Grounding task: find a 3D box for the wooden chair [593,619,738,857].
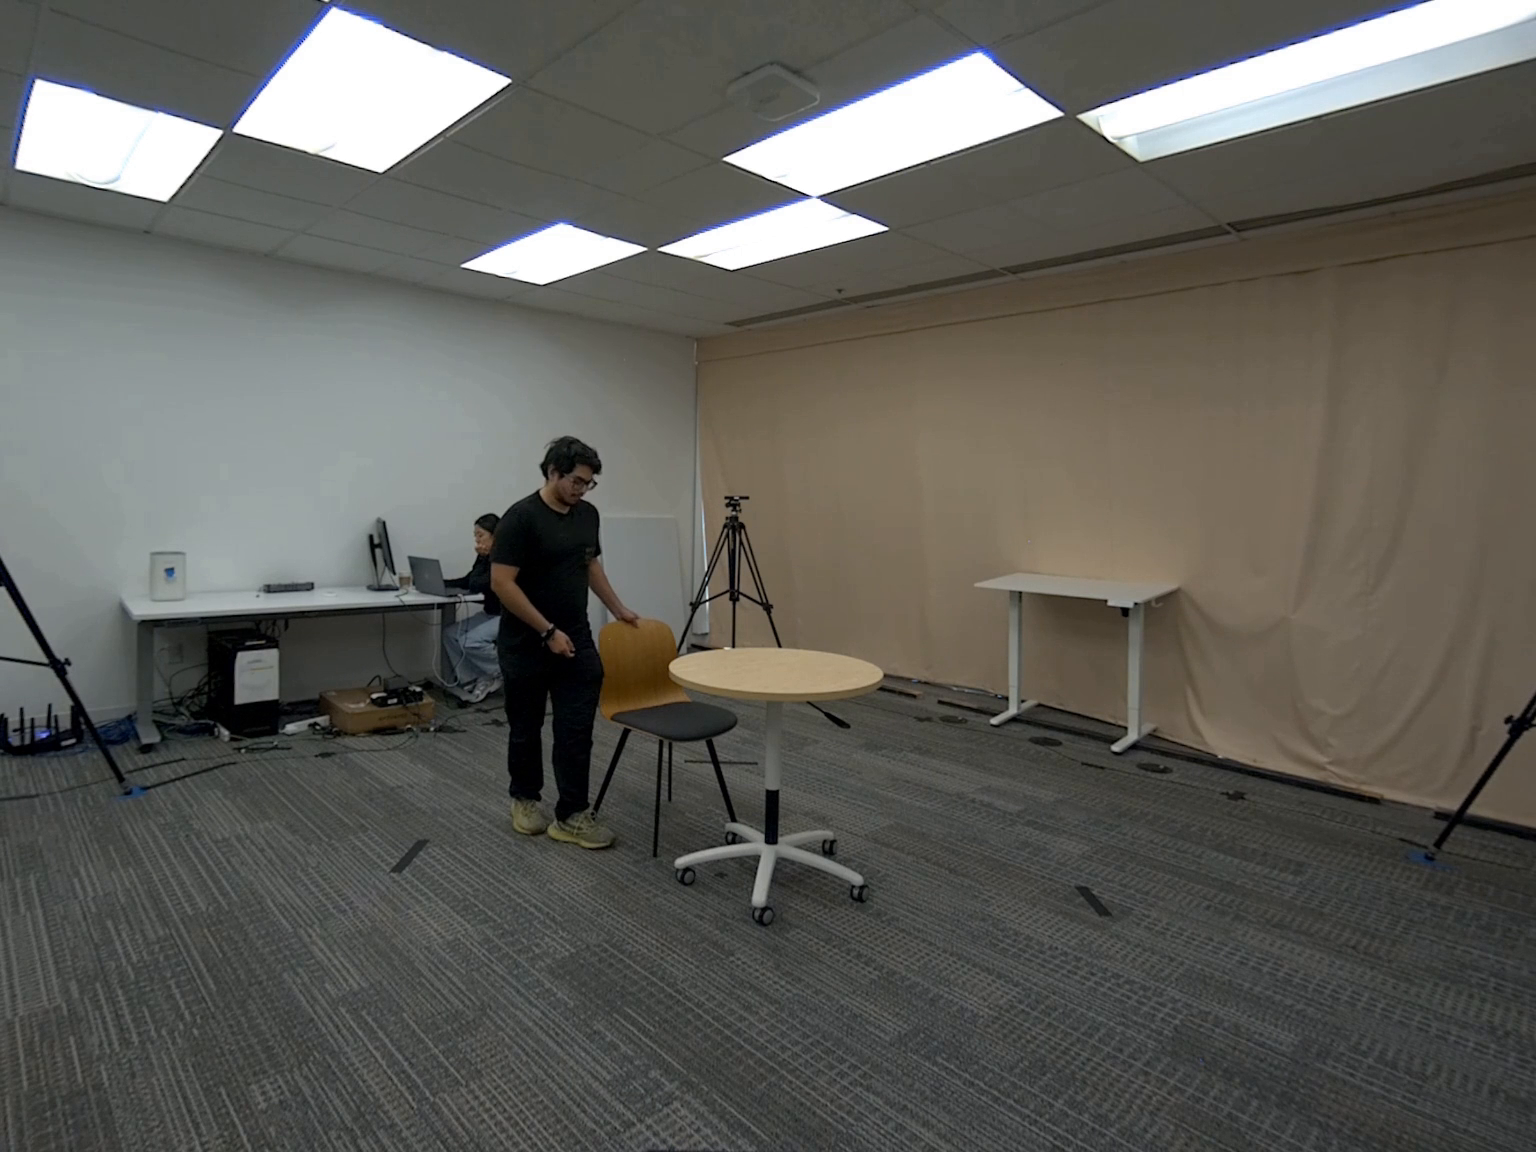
[{"bbox_3d":[-0.429,0.632,3.520,0.535,0.877,0.467,-1,0,45],"label":"wooden chair"}]
